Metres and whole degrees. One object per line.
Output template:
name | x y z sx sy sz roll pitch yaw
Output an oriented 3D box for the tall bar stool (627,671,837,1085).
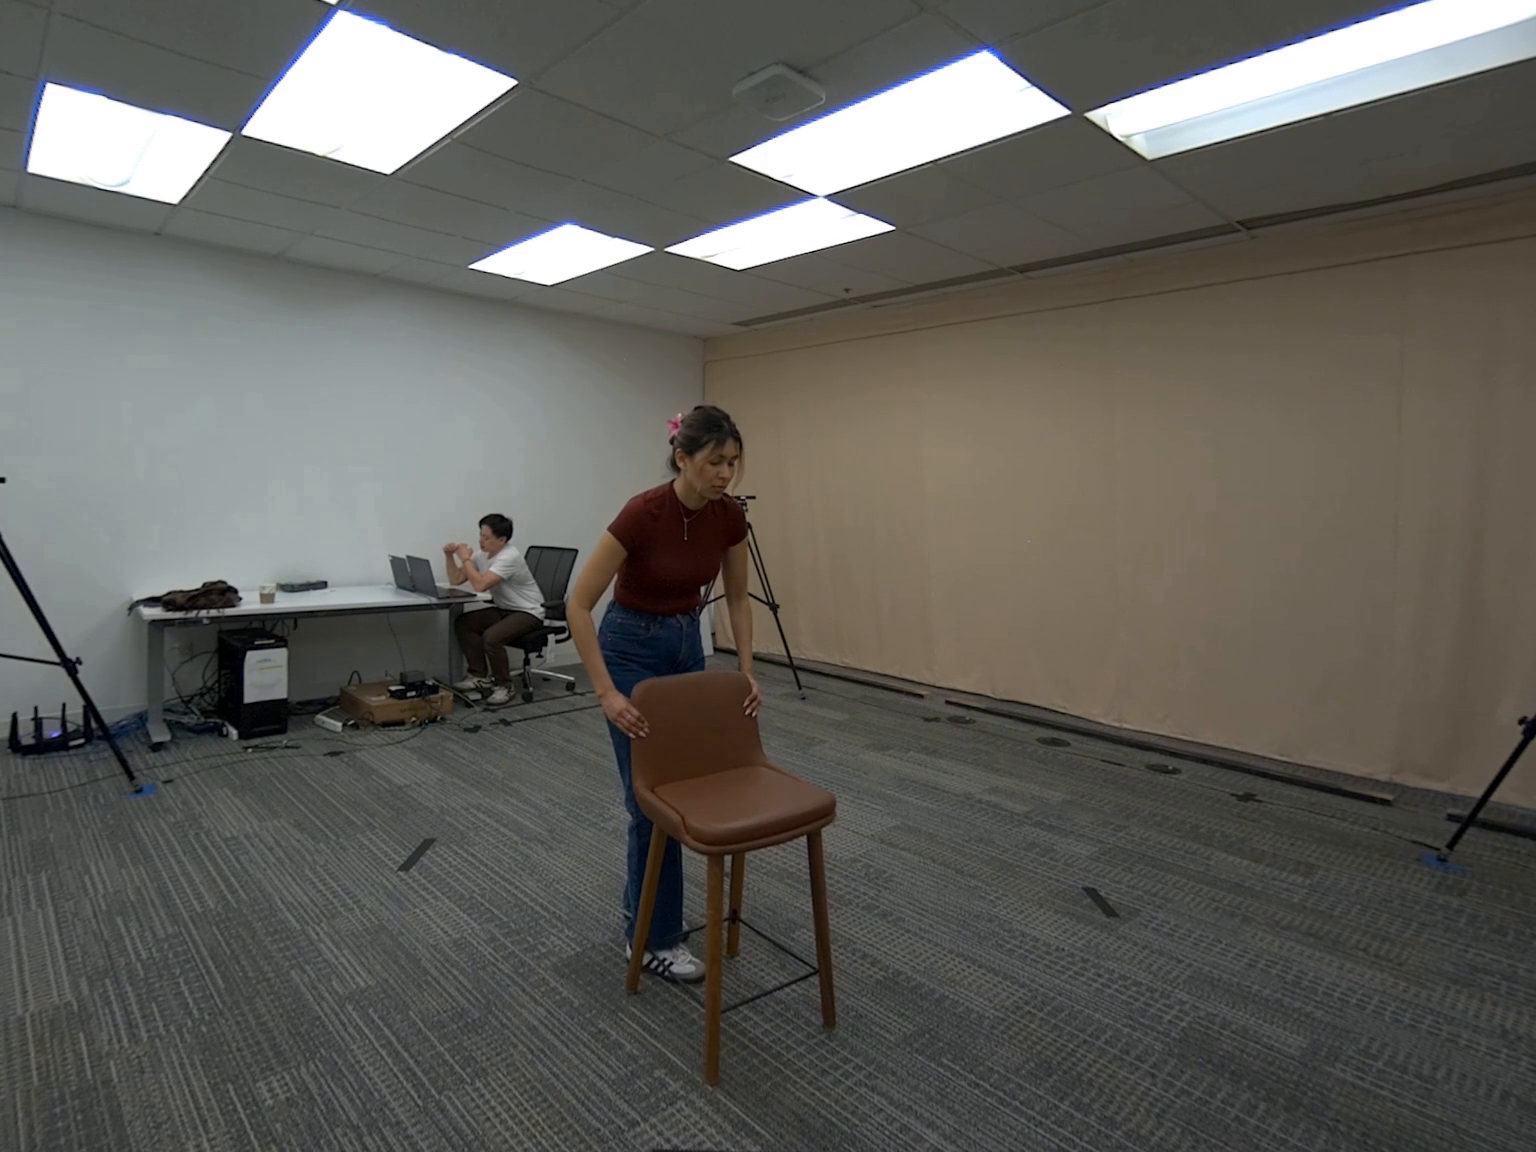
tall bar stool | -0.109 0.743 2.262 0.446 0.888 0.479 -2 3 -37
